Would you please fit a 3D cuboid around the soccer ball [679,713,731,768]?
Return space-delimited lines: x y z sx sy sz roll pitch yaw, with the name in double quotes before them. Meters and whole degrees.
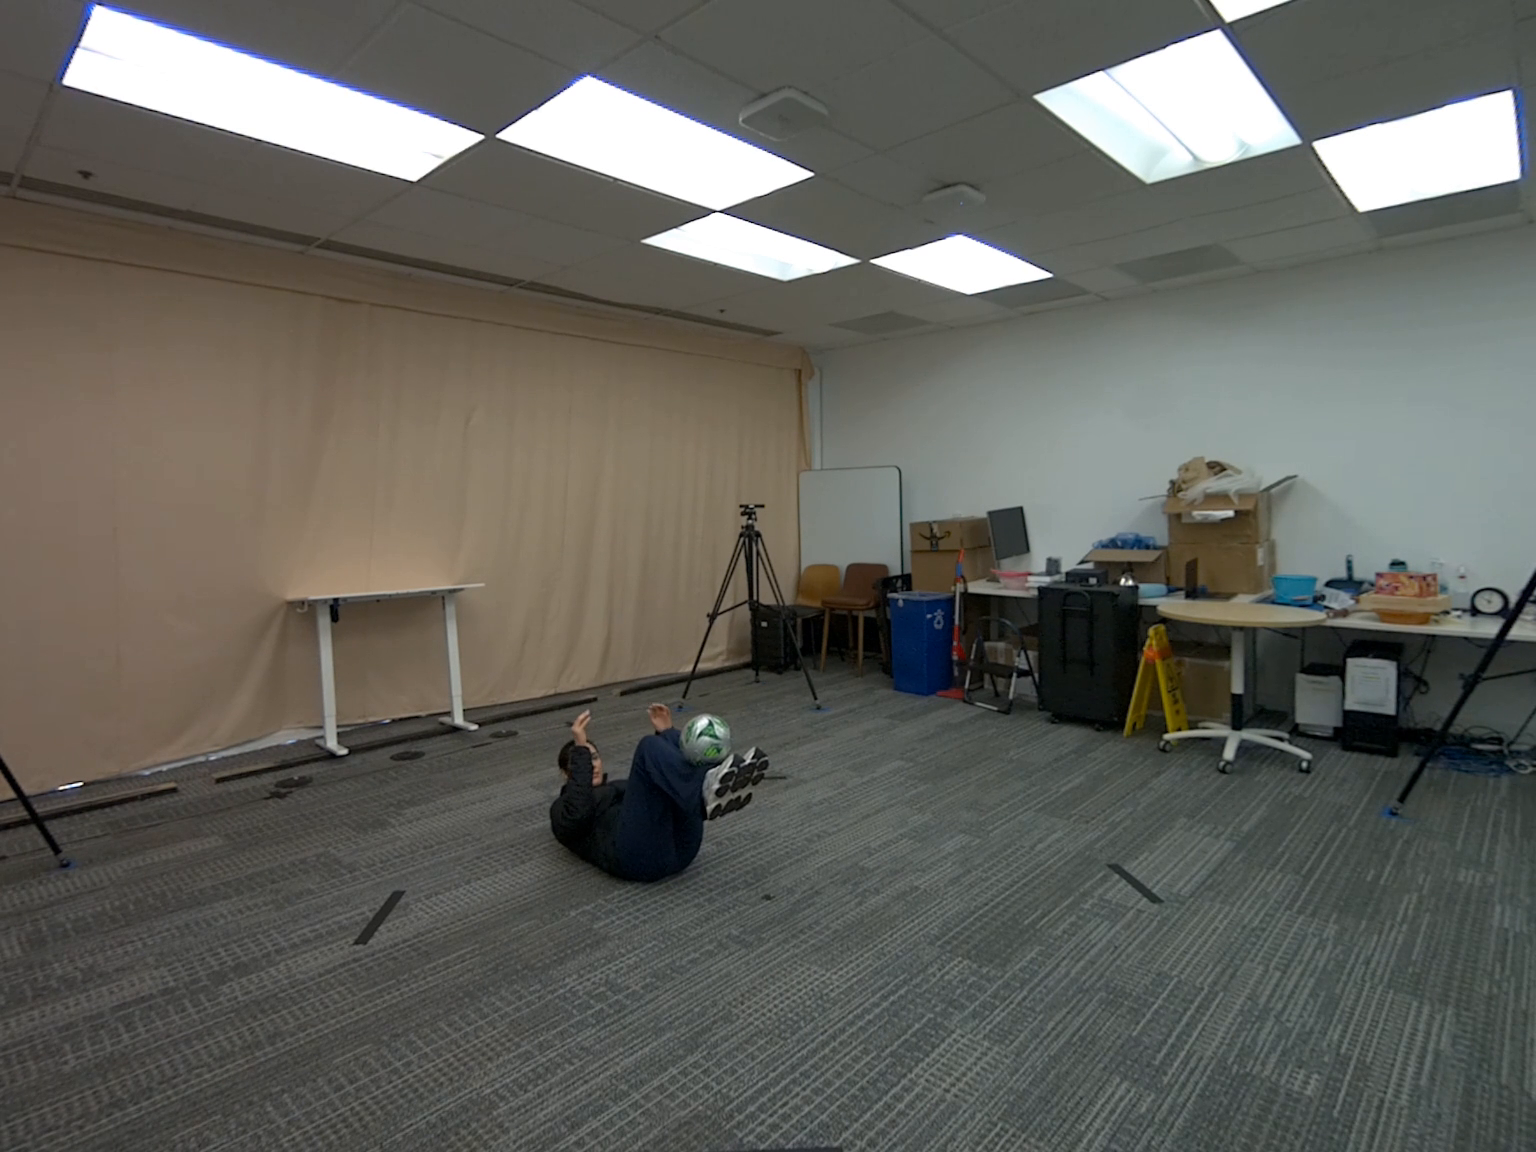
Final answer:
"soccer ball" -0.211 0.577 2.923 0.187 0.187 0.188 2 5 -2
